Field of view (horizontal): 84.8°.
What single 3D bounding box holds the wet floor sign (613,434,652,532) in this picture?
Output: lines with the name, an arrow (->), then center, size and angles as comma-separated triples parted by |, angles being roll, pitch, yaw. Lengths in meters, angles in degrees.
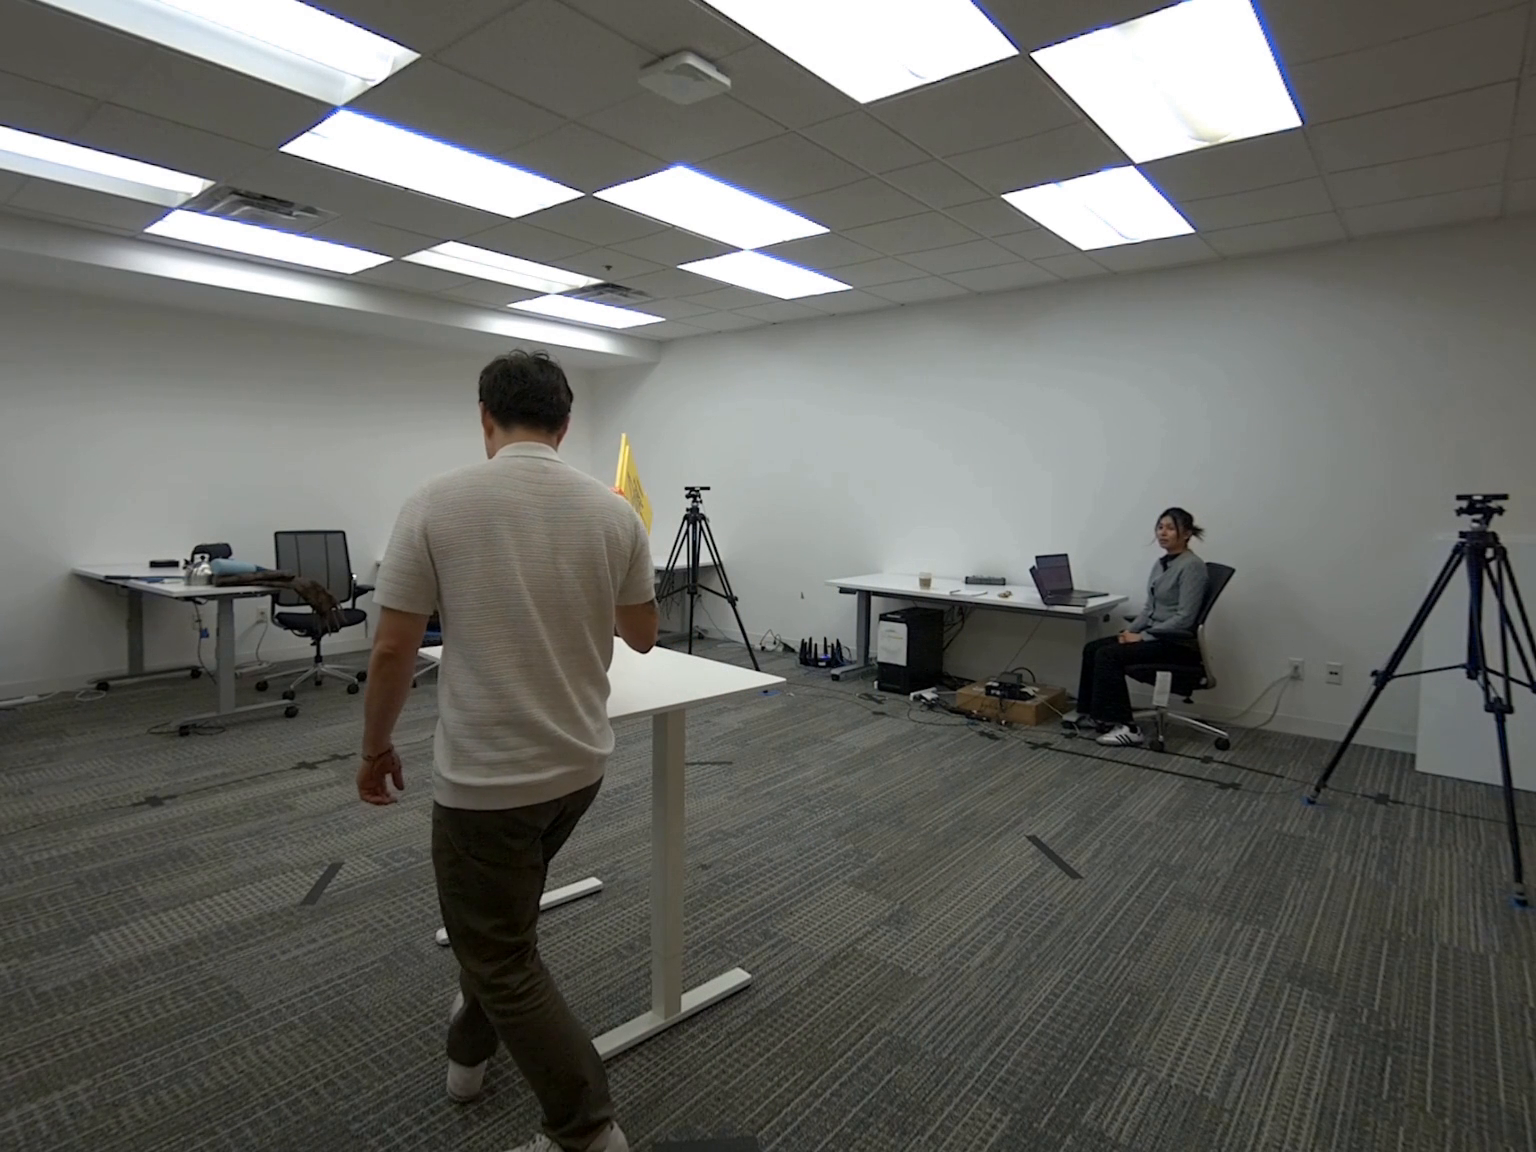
wet floor sign -> -0.453, -0.165, 2.368 | 0.288, 0.275, 0.667 | -21, 25, -10
